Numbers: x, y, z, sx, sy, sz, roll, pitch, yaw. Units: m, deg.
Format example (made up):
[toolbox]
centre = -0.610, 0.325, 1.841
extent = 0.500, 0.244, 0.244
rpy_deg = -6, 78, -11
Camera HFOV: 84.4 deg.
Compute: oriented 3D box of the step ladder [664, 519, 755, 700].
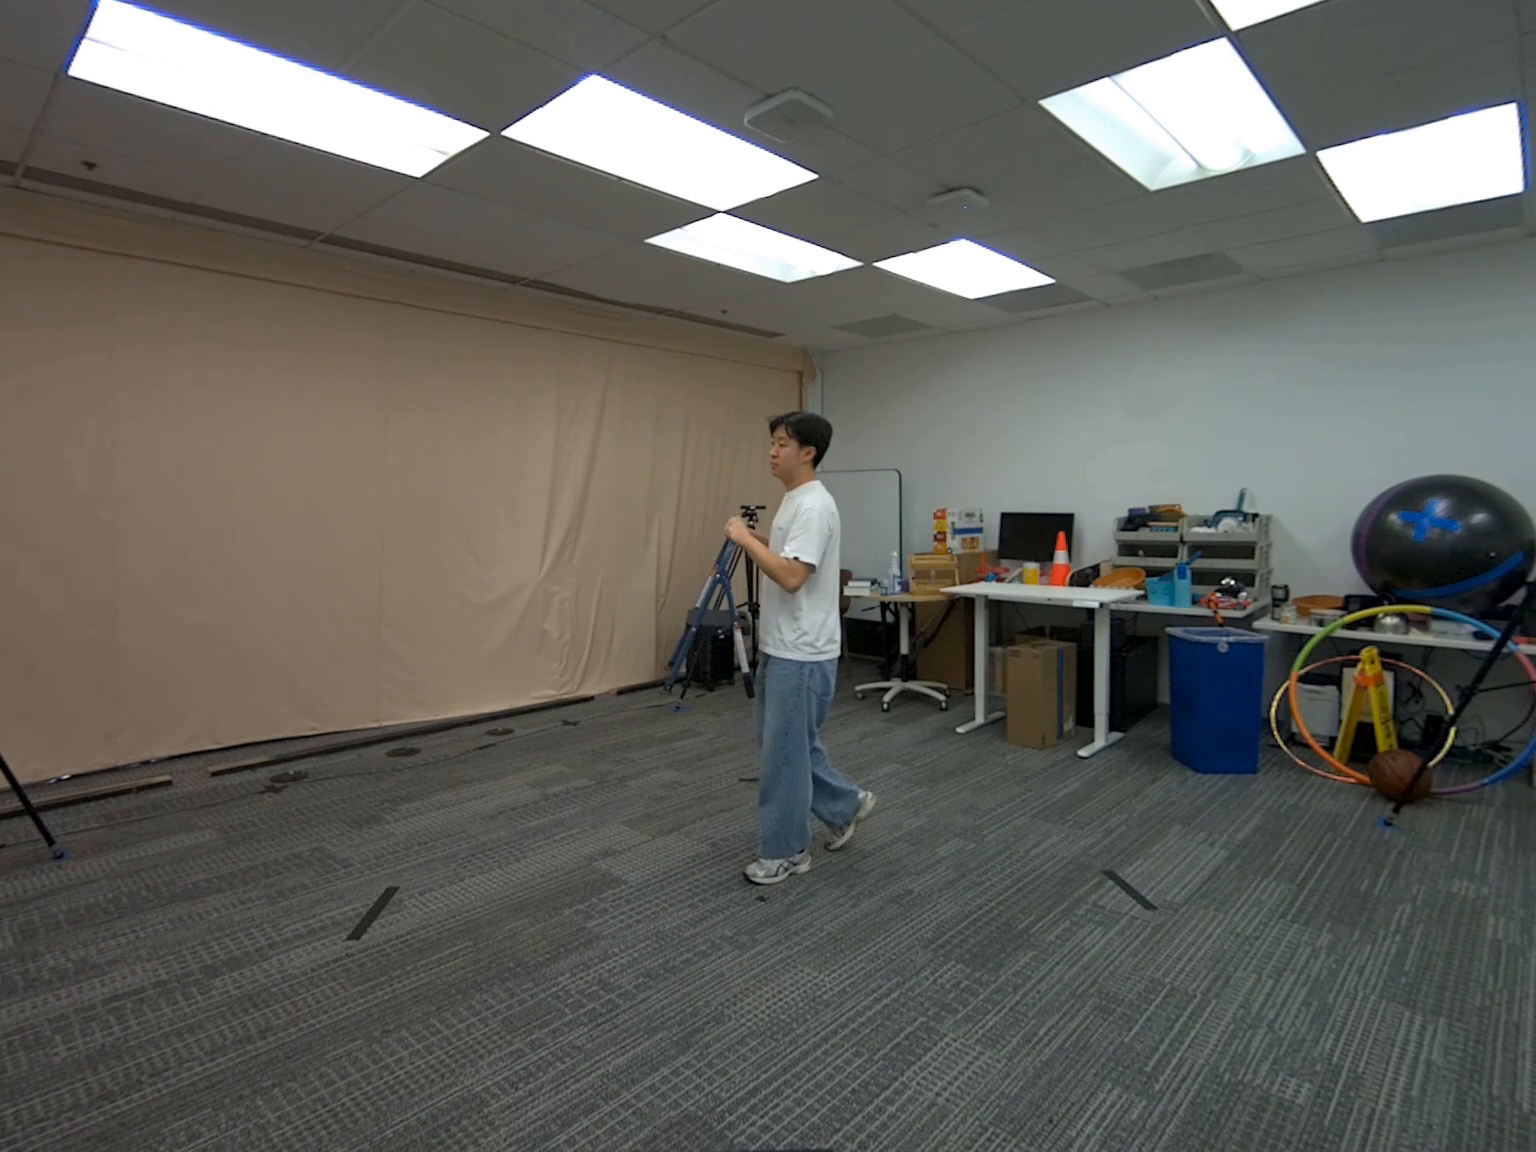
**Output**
[step ladder]
centre = -0.213, 0.125, 3.255
extent = 0.348, 0.605, 0.433
rpy_deg = 3, 2, -4
